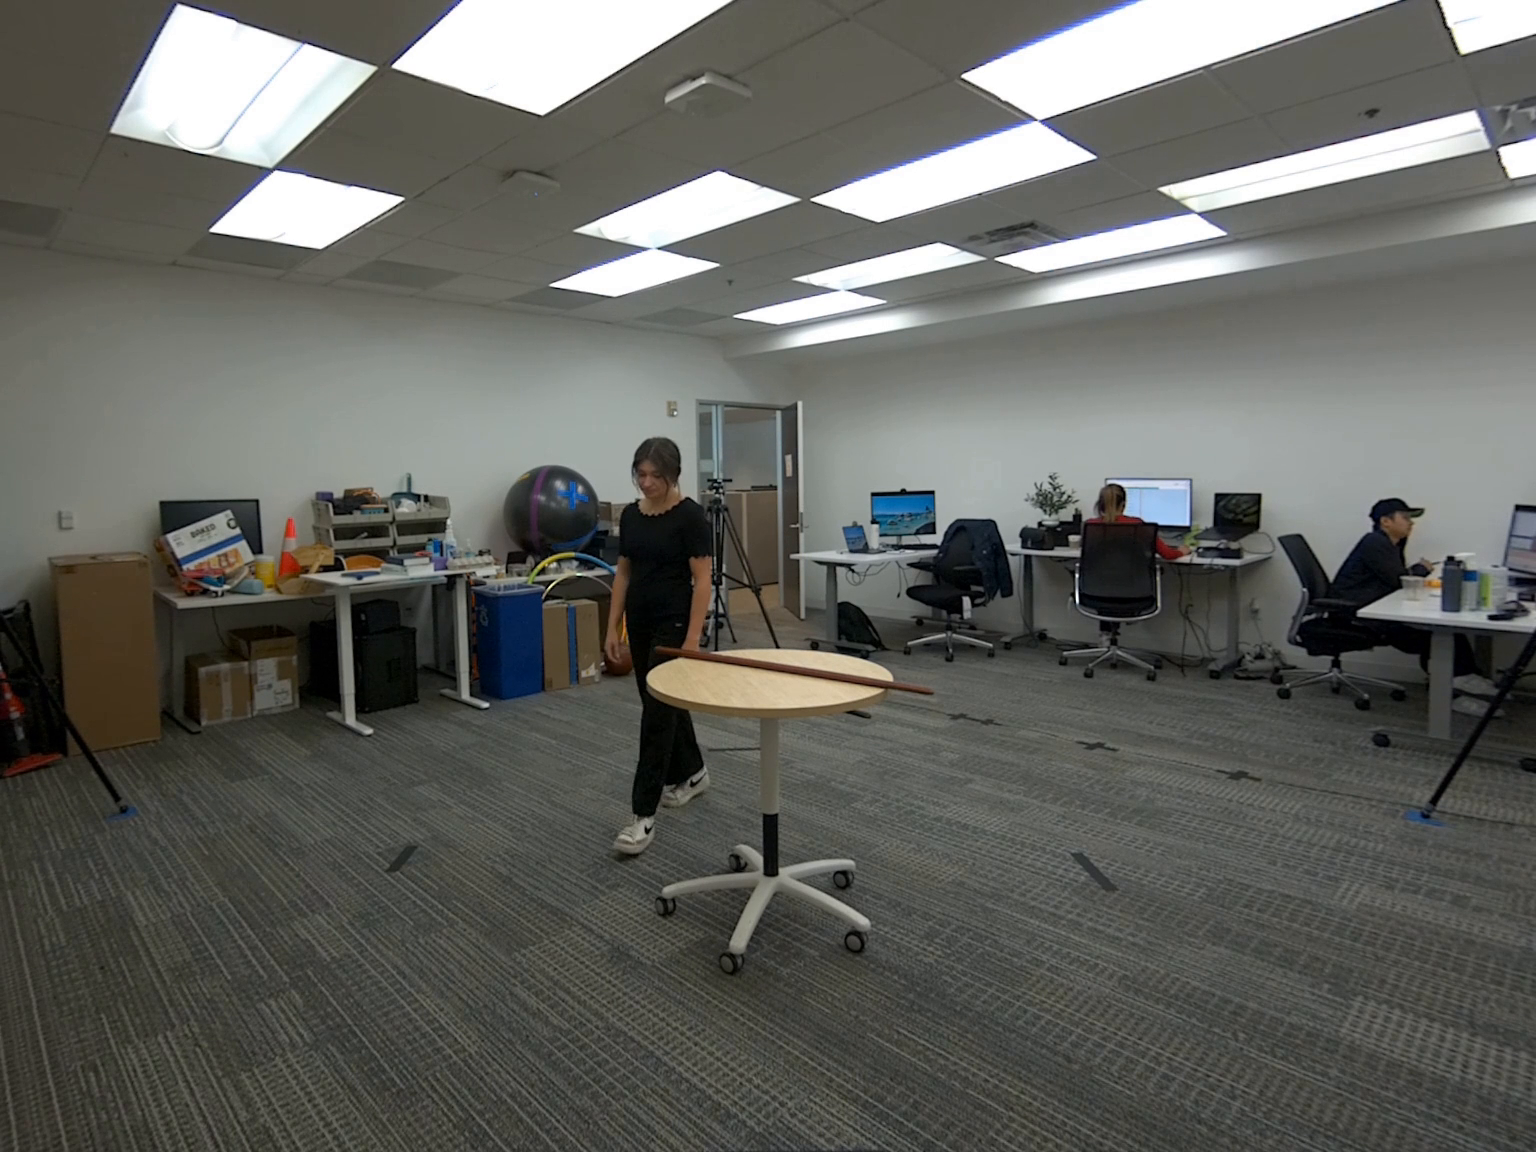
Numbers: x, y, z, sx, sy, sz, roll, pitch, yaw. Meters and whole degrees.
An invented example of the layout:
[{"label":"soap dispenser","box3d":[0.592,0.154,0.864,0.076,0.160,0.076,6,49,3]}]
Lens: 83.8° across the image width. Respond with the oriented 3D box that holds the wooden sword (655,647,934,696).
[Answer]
[{"label":"wooden sword","box3d":[0.038,0.292,2.720,1.055,0.024,0.050,5,14,34]}]
